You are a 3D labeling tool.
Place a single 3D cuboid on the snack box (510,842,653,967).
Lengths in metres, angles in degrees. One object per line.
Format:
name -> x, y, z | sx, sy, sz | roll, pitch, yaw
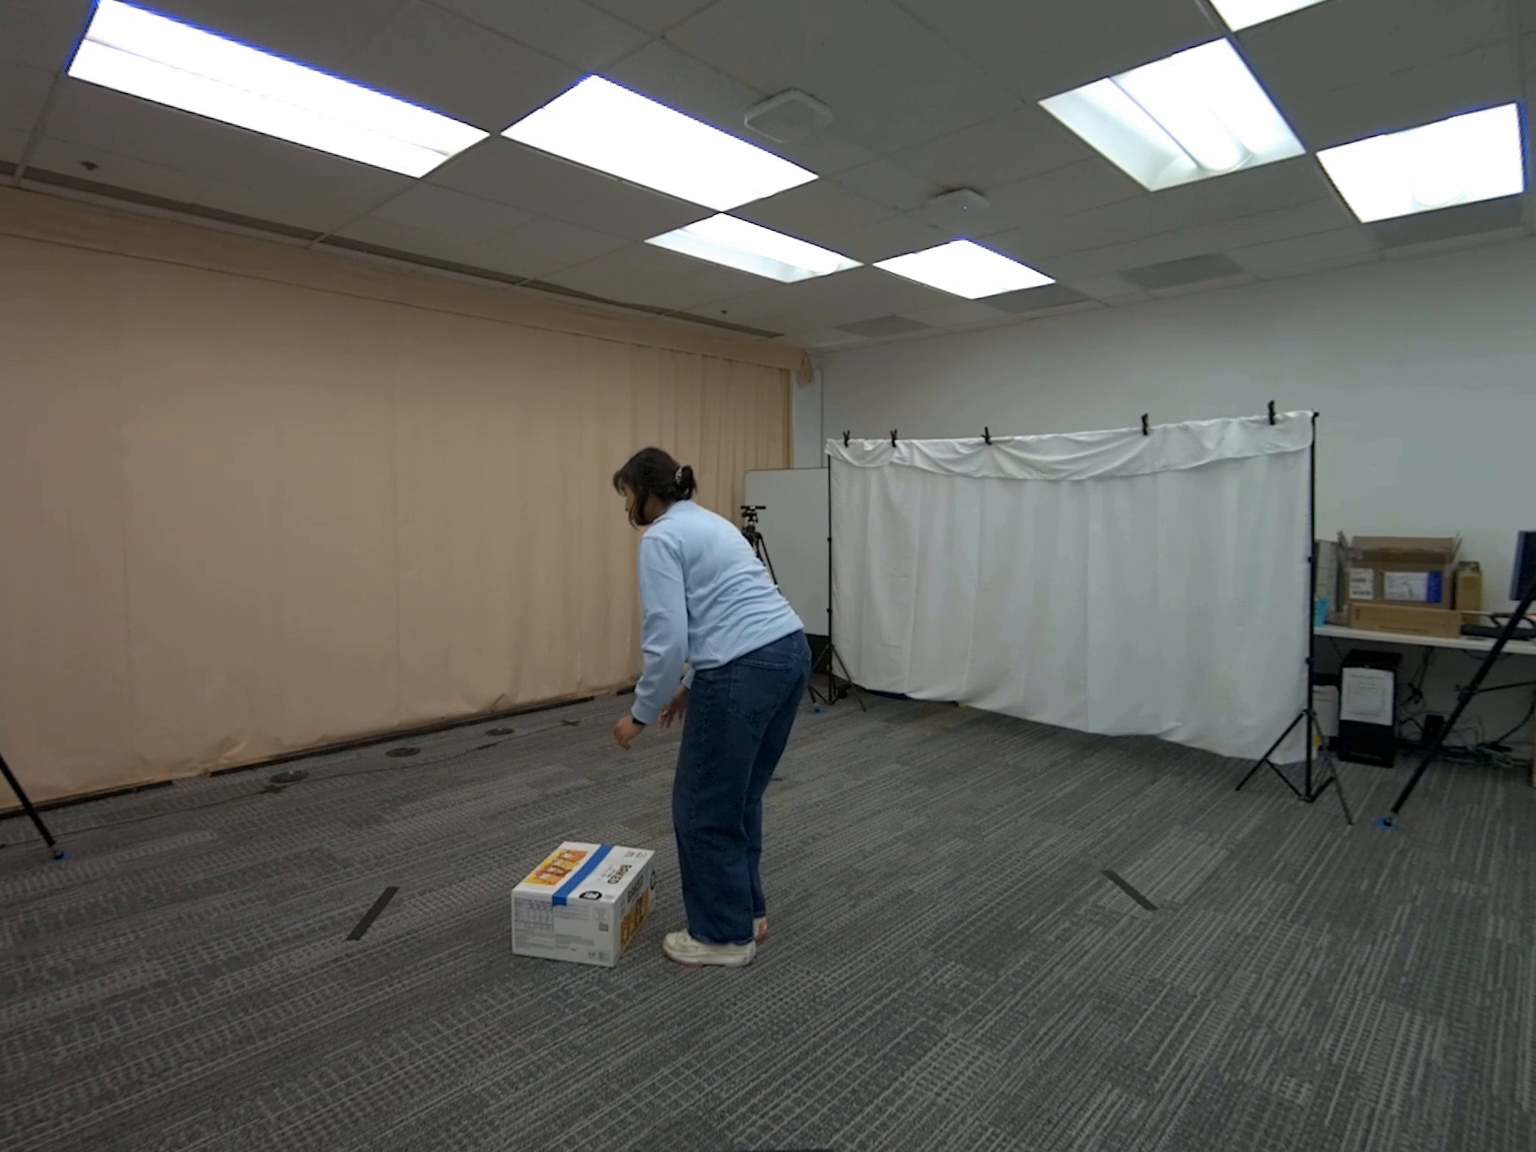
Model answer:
snack box -> -0.594, 1.070, 2.756 | 0.345, 0.205, 0.400 | 0, 4, 13
